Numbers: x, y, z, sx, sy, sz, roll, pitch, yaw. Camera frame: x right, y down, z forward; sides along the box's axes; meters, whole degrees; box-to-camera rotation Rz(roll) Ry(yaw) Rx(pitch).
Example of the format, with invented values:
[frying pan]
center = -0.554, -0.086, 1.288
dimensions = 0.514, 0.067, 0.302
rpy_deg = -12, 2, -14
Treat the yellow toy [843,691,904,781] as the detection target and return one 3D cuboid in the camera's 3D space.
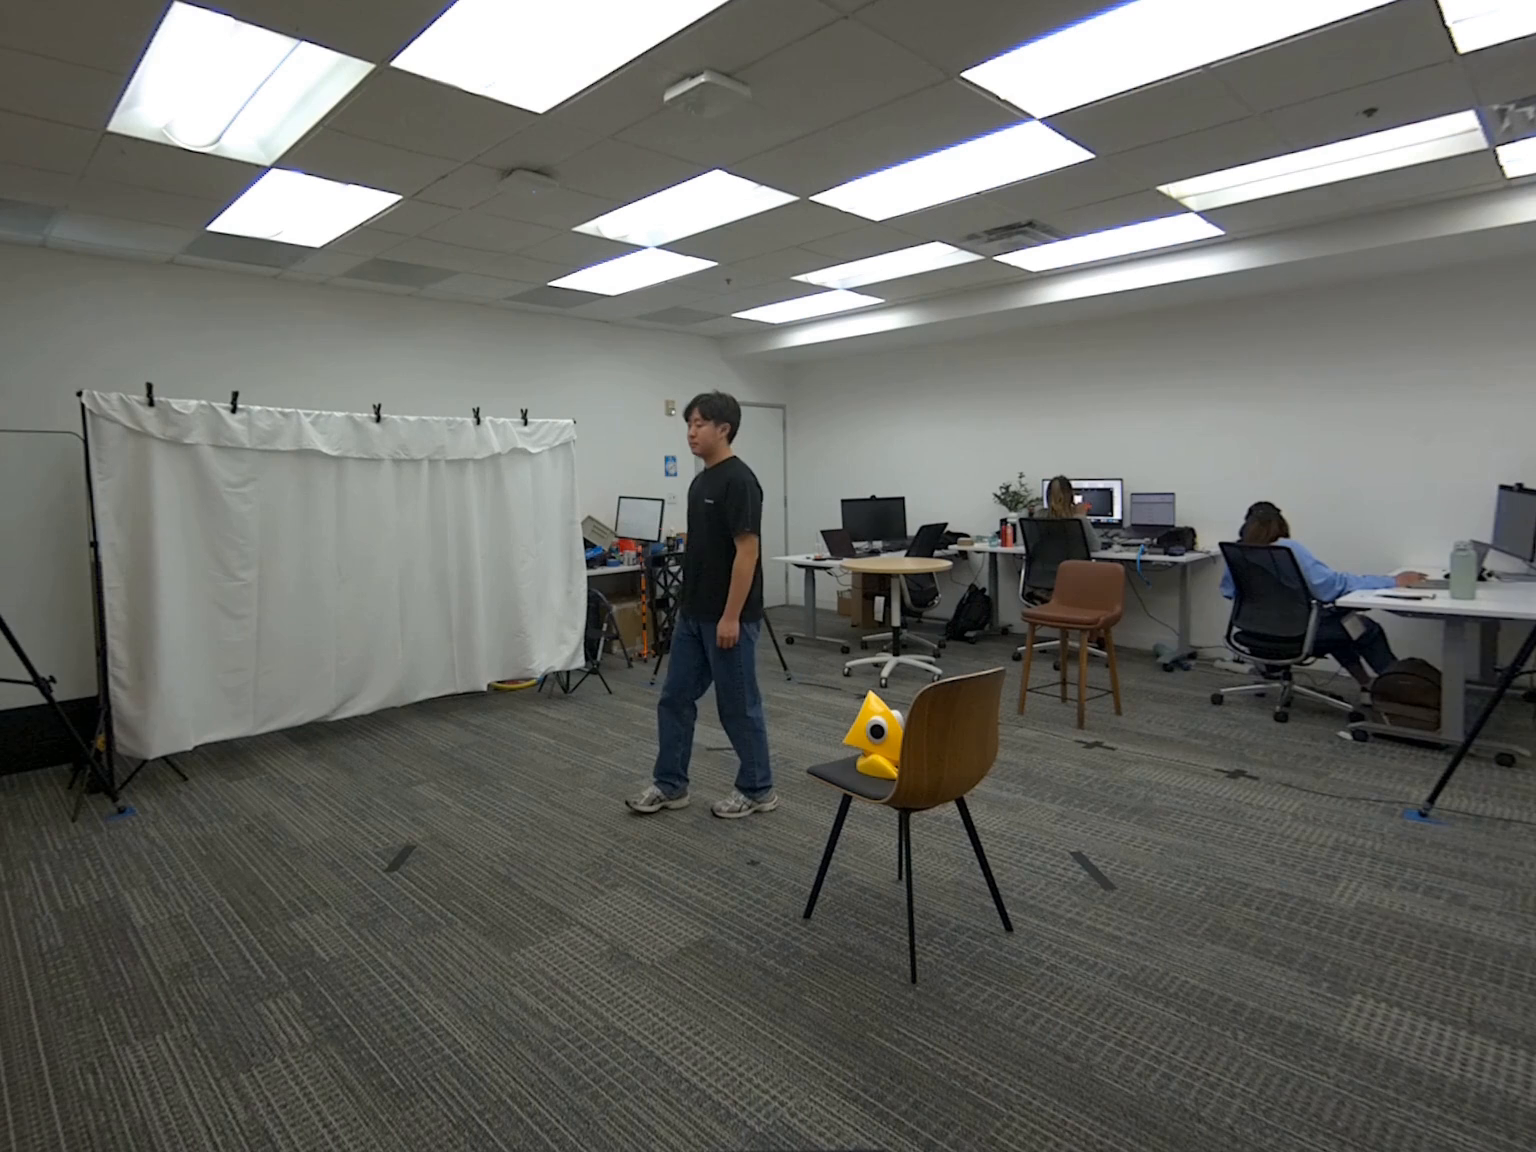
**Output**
[yellow toy]
center = 0.378, 0.487, 2.684
dimensions = 0.199, 0.229, 0.199
rpy_deg = 7, 9, 43
